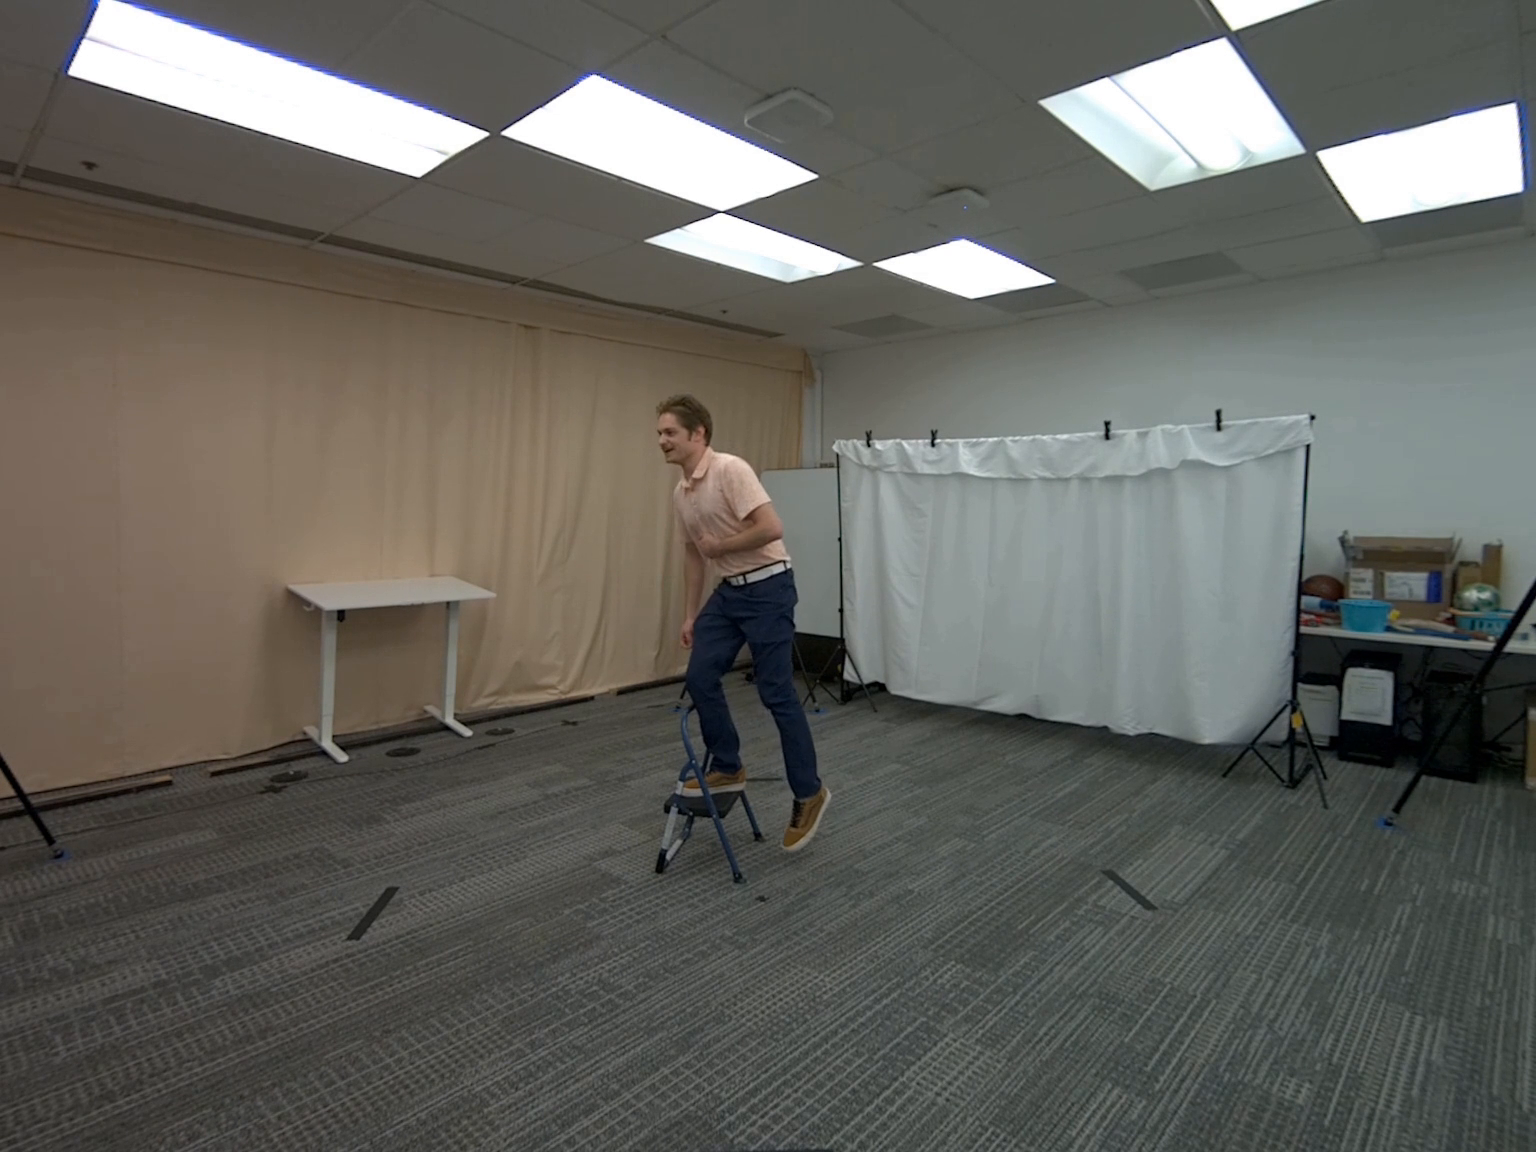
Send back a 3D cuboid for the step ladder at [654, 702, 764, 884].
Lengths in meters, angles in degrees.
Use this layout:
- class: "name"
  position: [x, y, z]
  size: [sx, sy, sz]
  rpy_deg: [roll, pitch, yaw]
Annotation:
- class: "step ladder"
  position: [-0.227, 0.815, 3.339]
  size: [0.354, 0.605, 0.426]
  rpy_deg: [0, 3, 11]
